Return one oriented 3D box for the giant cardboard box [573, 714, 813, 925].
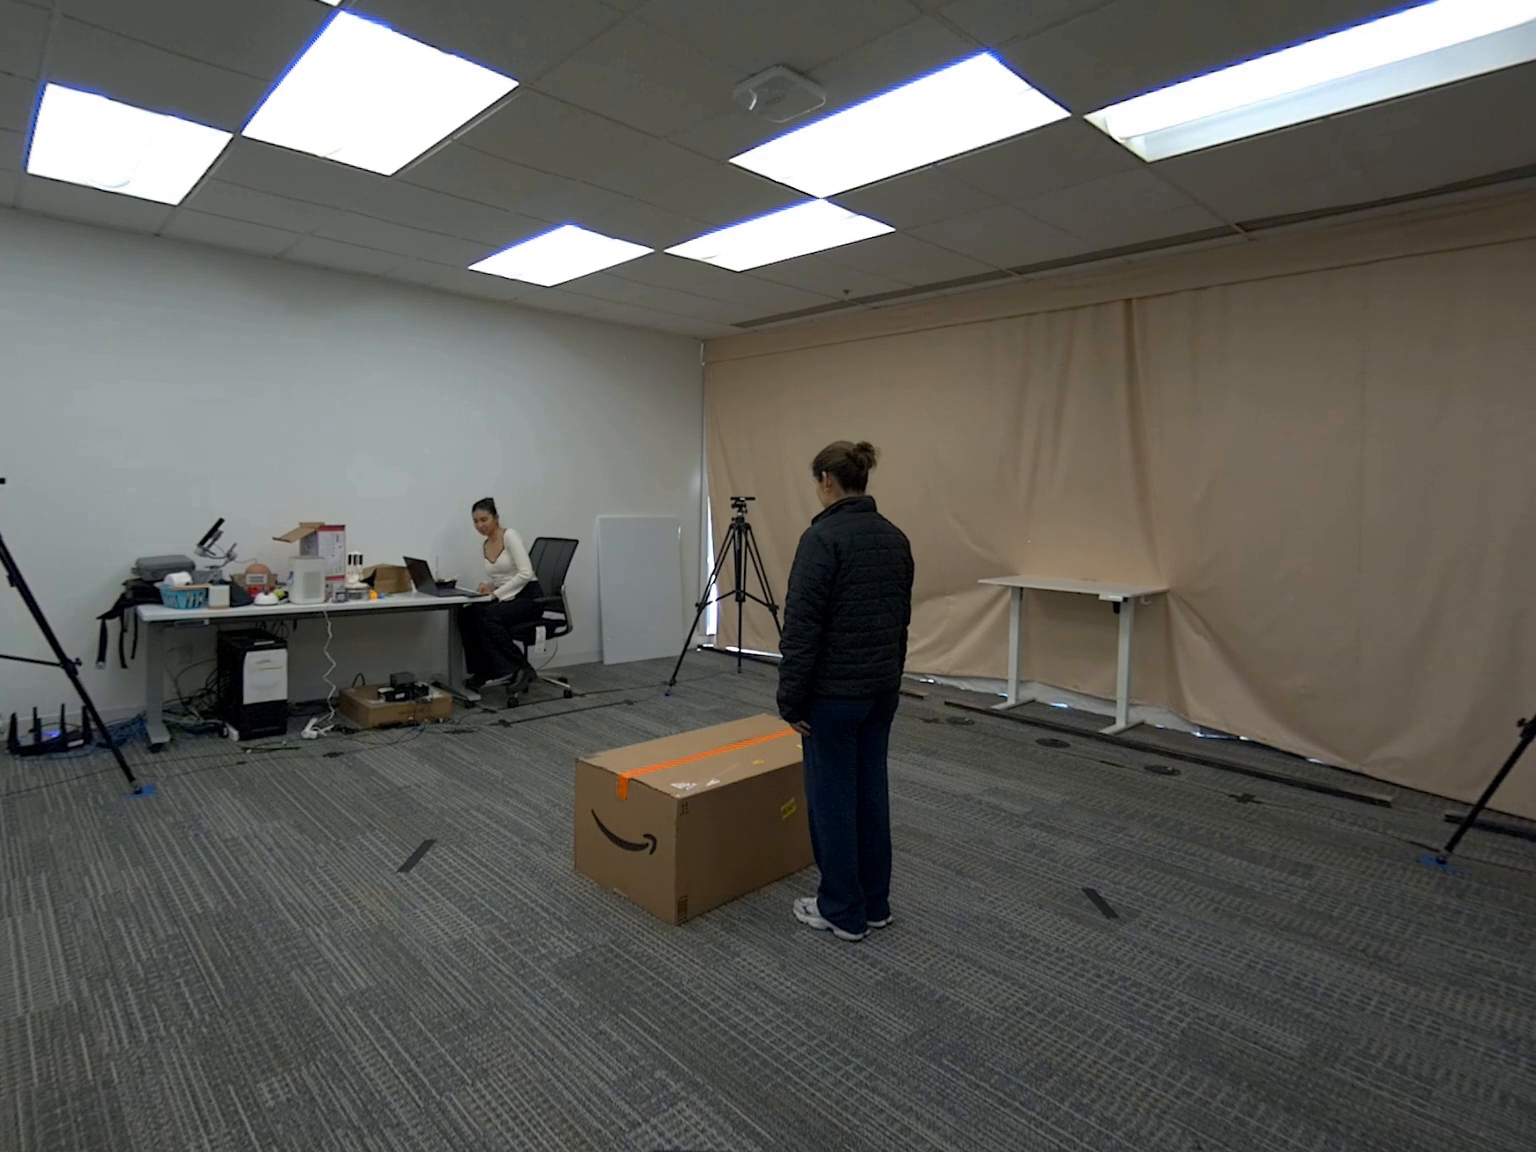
[{"bbox_3d":[-0.165,0.878,3.265,0.592,0.425,1.003,6,7,43],"label":"giant cardboard box"}]
